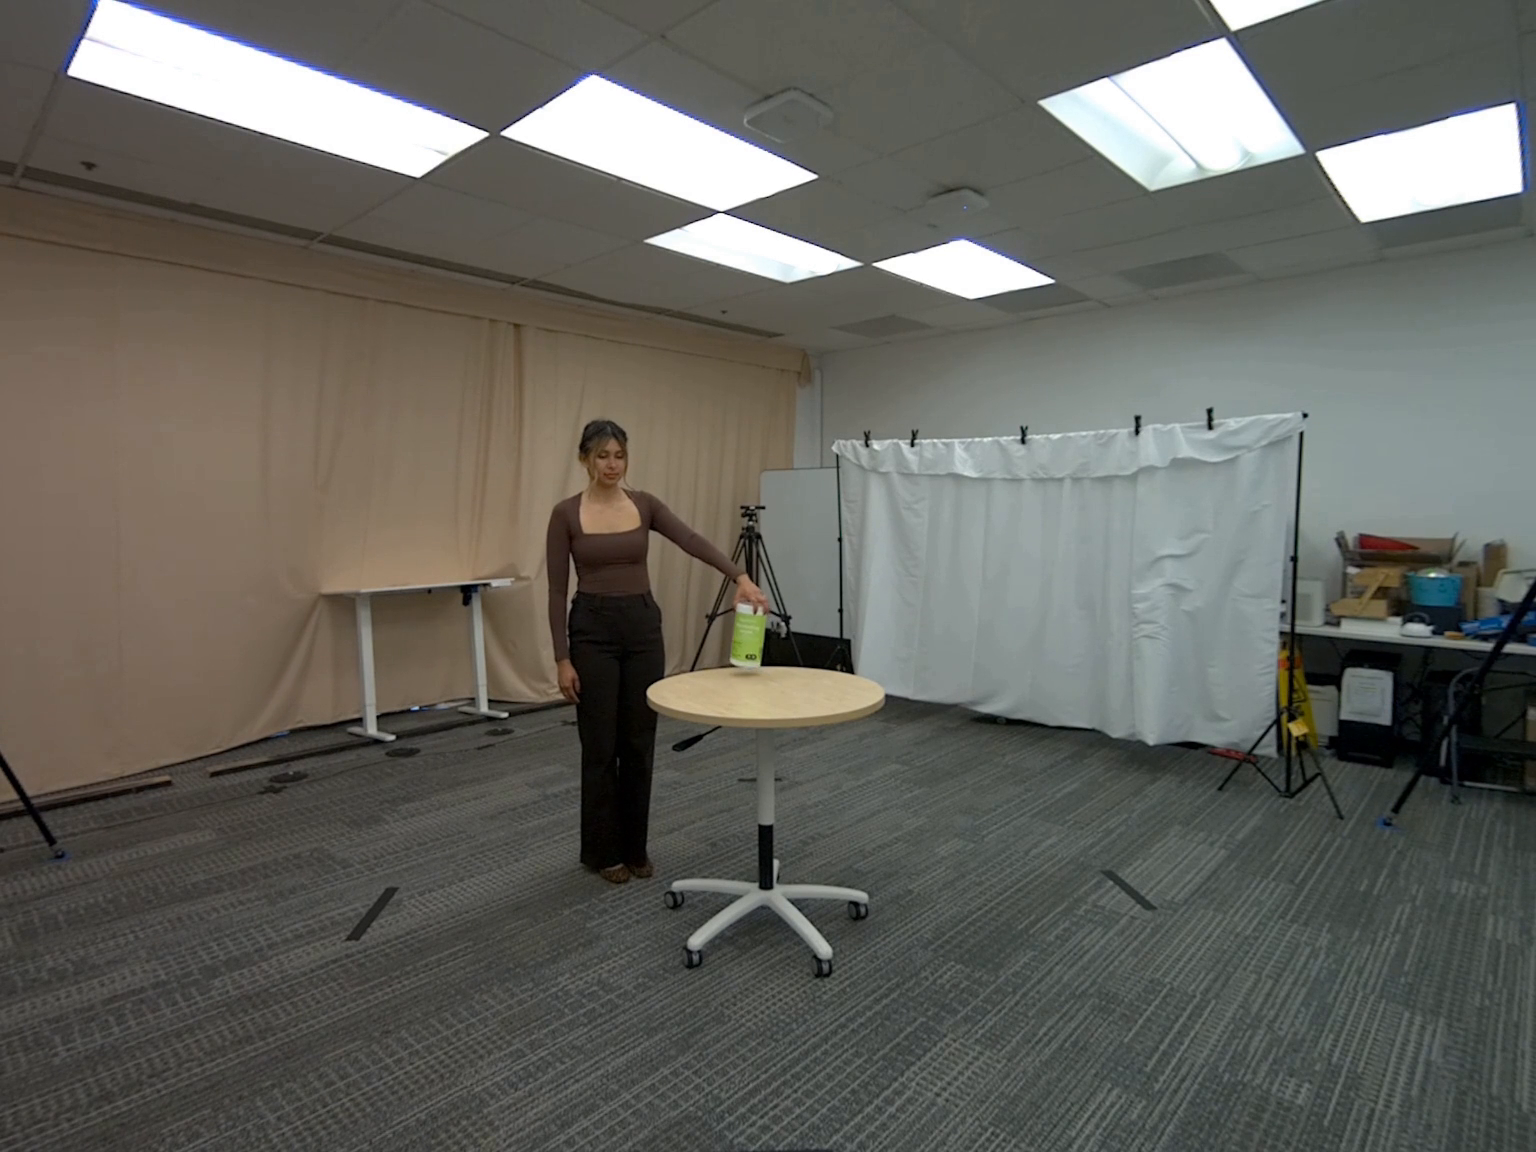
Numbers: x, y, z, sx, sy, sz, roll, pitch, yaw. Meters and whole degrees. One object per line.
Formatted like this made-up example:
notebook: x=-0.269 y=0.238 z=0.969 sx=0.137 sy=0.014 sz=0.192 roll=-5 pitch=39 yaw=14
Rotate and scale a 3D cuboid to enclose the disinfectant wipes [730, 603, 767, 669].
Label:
disinfectant wipes: x=-0.062 y=0.201 z=2.951 sx=0.117 sy=0.217 sz=0.118 roll=4 pitch=5 yaw=-2
